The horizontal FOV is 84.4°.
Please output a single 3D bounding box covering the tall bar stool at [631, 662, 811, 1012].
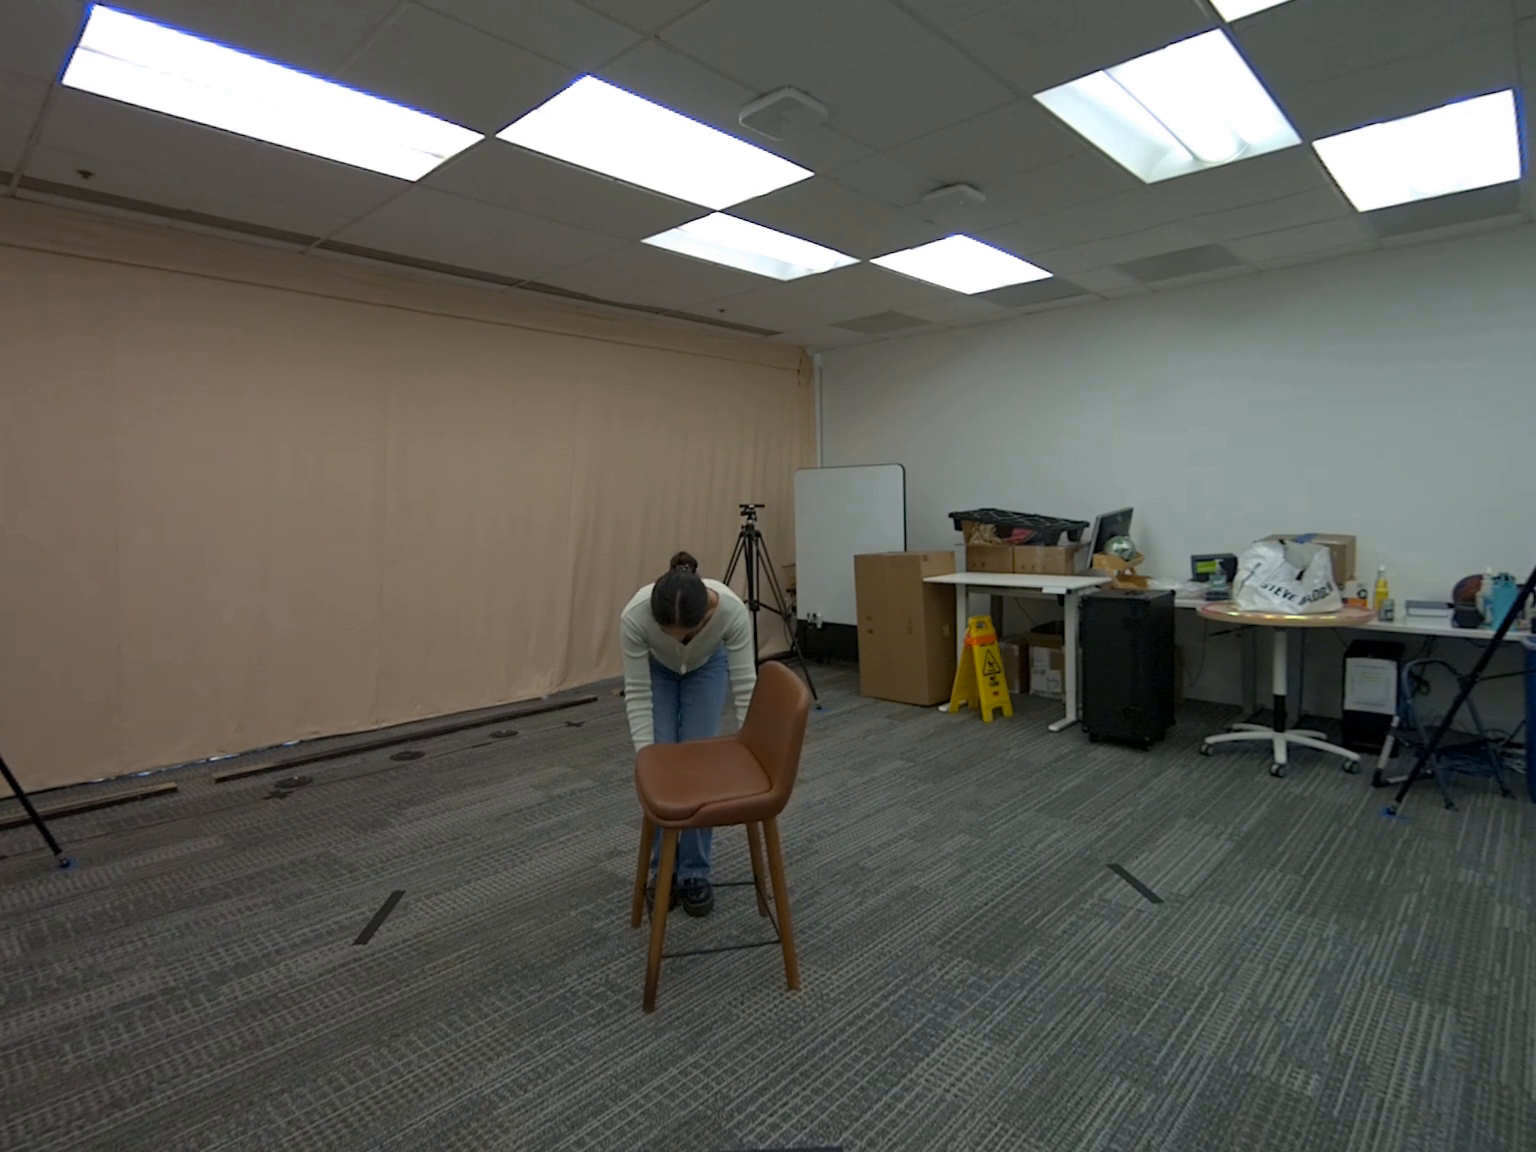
[{"bbox_3d":[-0.157,0.737,2.477,0.461,0.884,0.465,0,10,-13],"label":"tall bar stool"}]
